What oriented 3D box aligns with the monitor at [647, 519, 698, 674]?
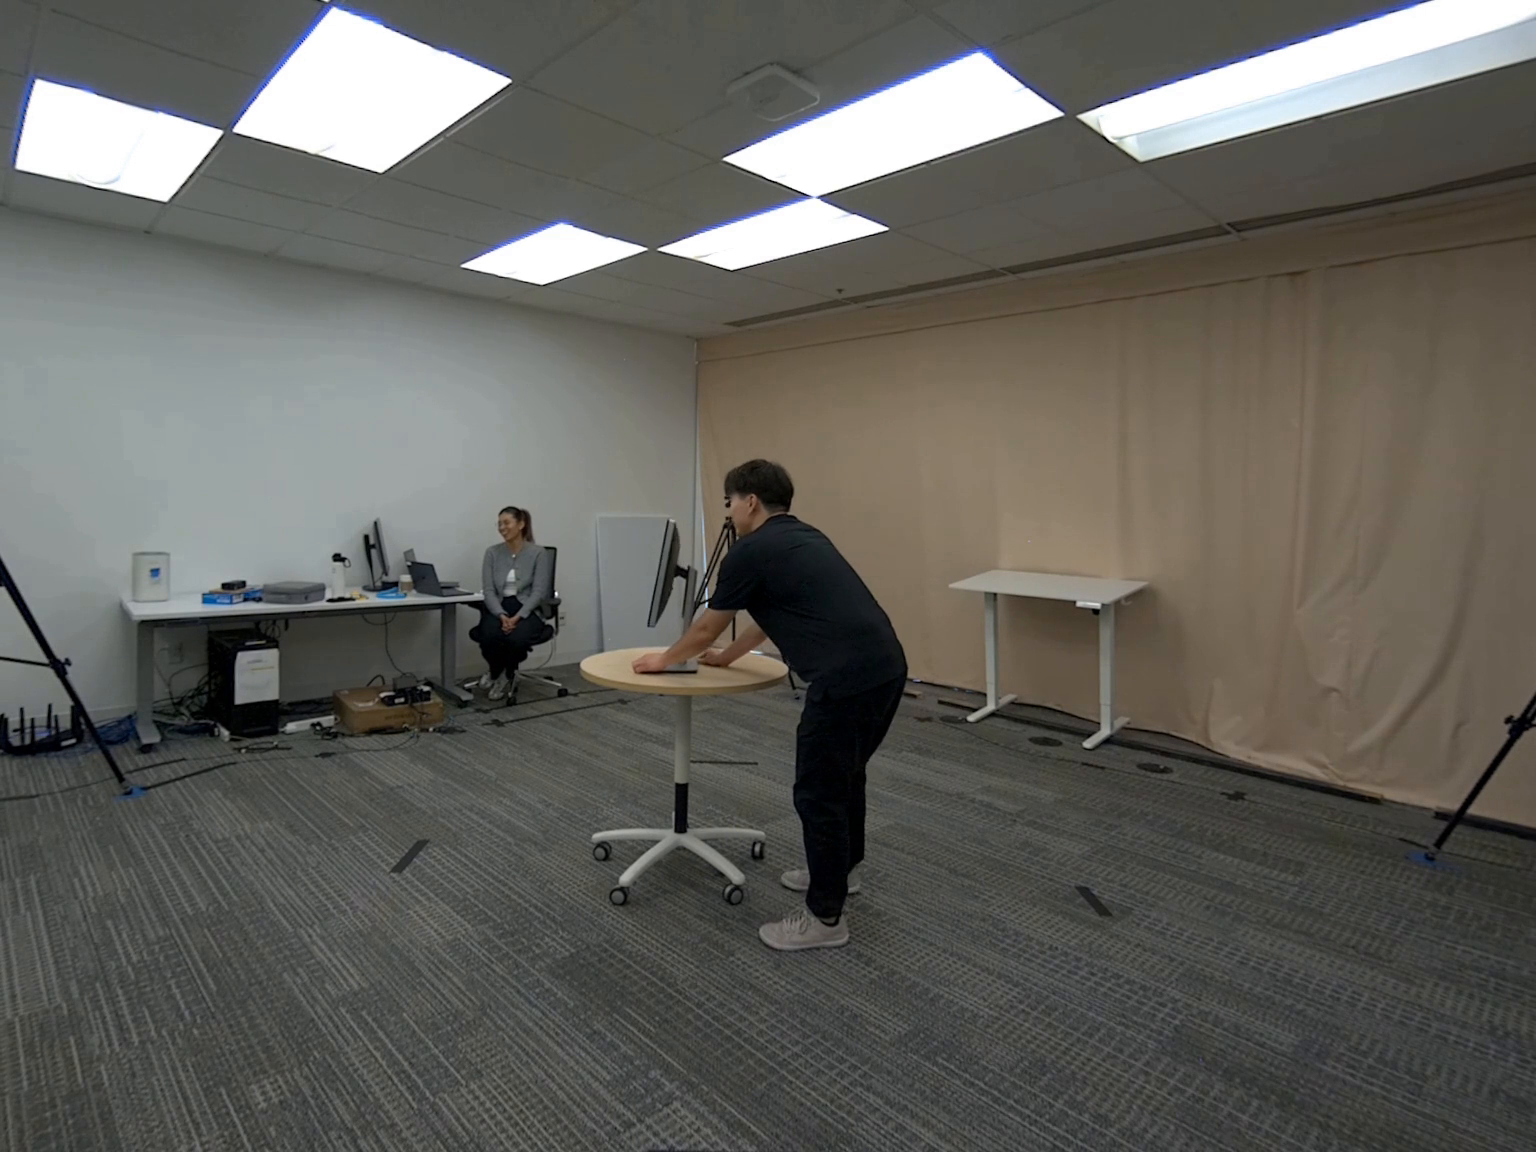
[{"bbox_3d":[-0.352,0.065,3.056,0.186,0.522,0.542,0,3,-6],"label":"monitor"}]
